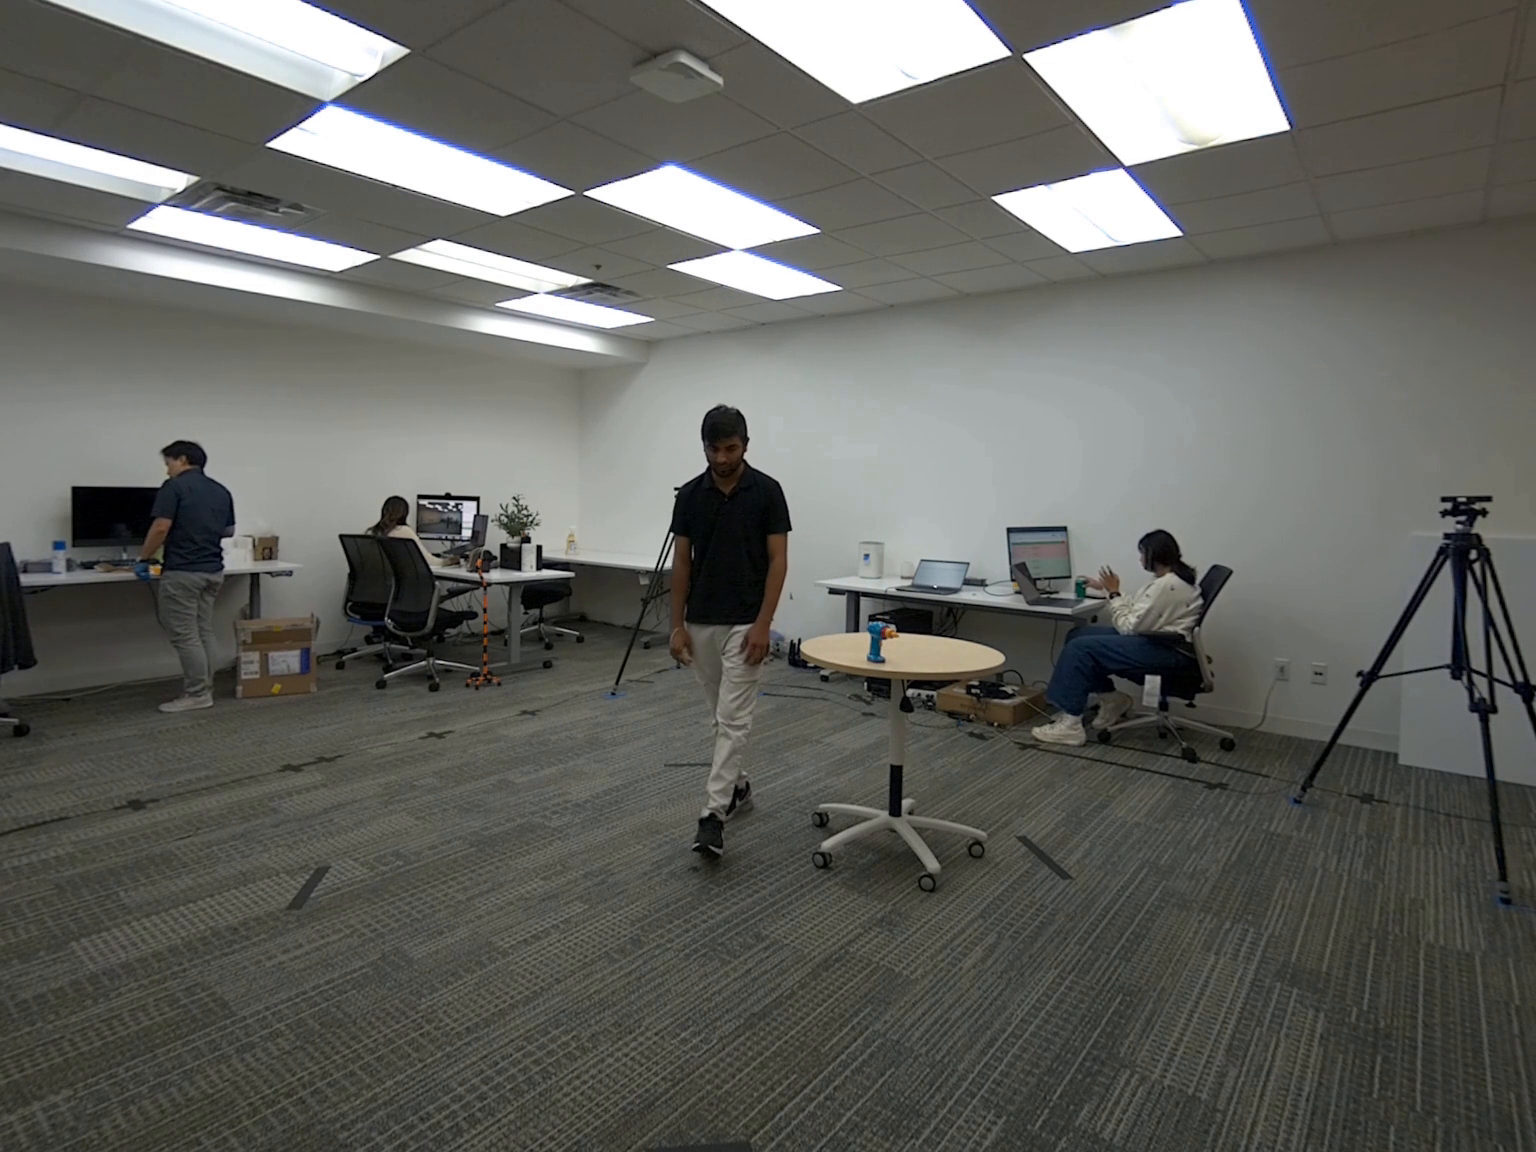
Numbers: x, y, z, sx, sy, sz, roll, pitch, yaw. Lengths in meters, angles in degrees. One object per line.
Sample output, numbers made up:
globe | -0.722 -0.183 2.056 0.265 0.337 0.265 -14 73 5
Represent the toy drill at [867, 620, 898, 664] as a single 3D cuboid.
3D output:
toy drill | 0.400 0.234 3.010 0.059 0.145 0.175 0 5 -29
